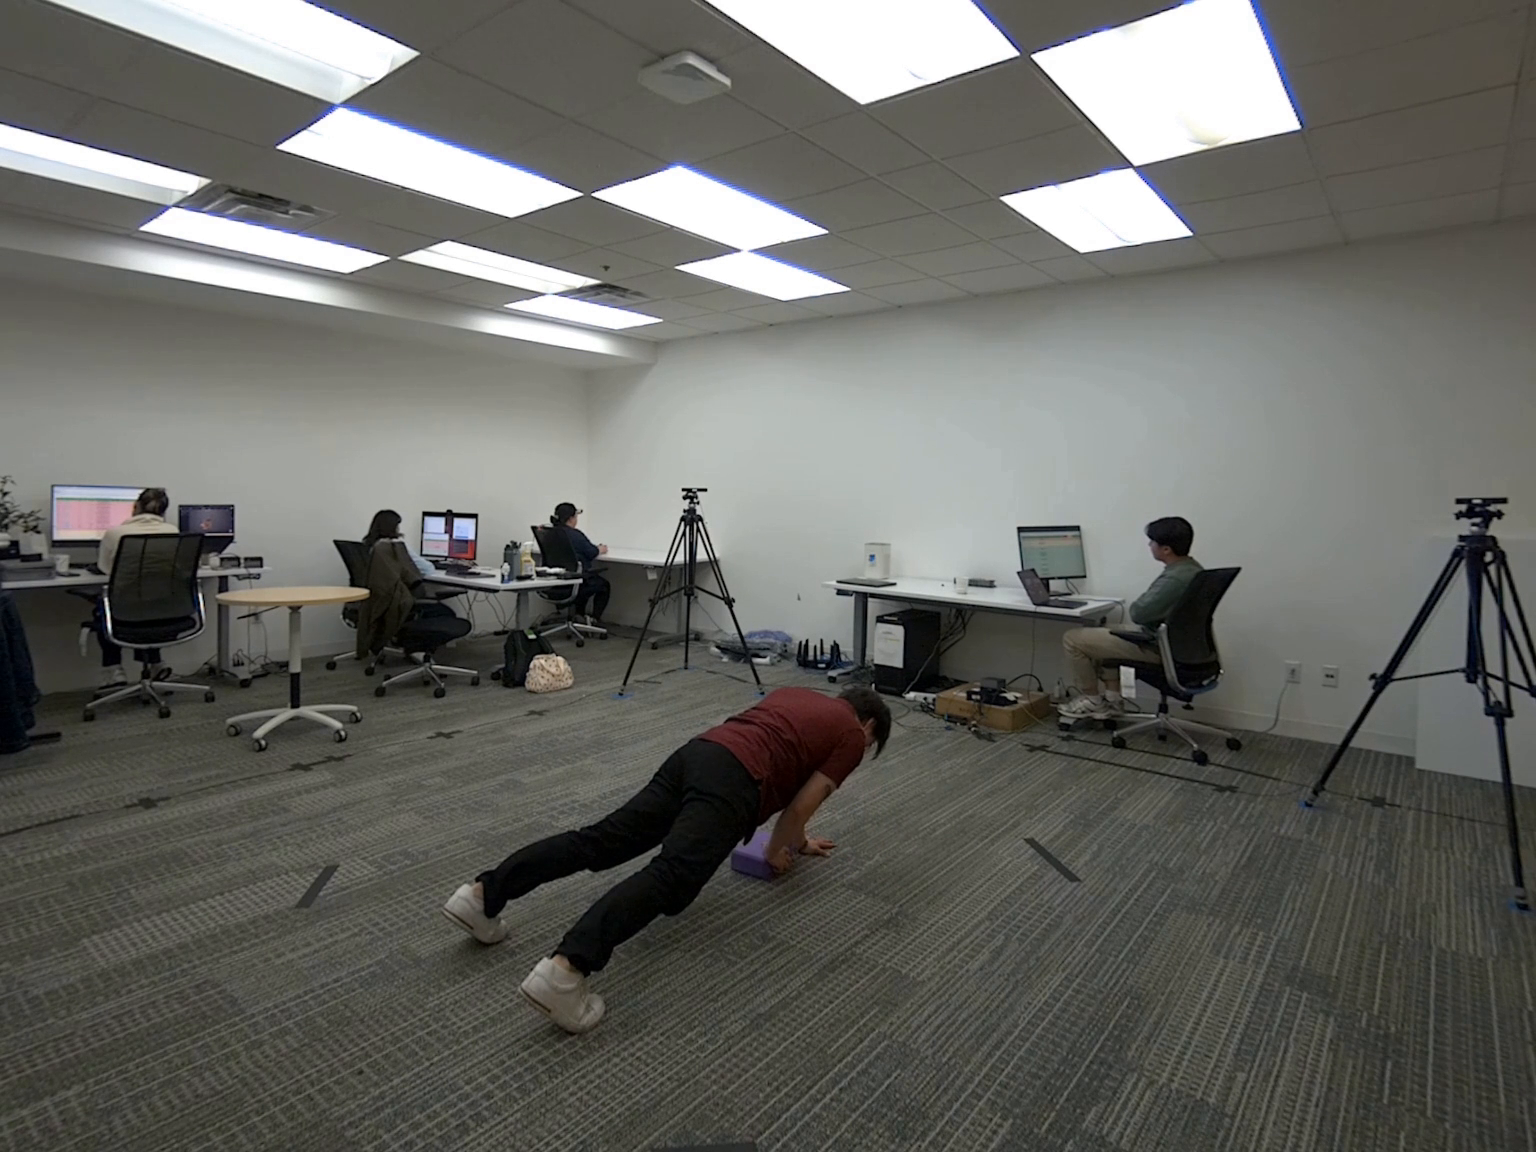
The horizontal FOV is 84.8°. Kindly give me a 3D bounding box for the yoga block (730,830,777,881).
[{"bbox_3d":[-0.028,1.024,3.160,0.153,0.076,0.223,4,6,30],"label":"yoga block"}]
